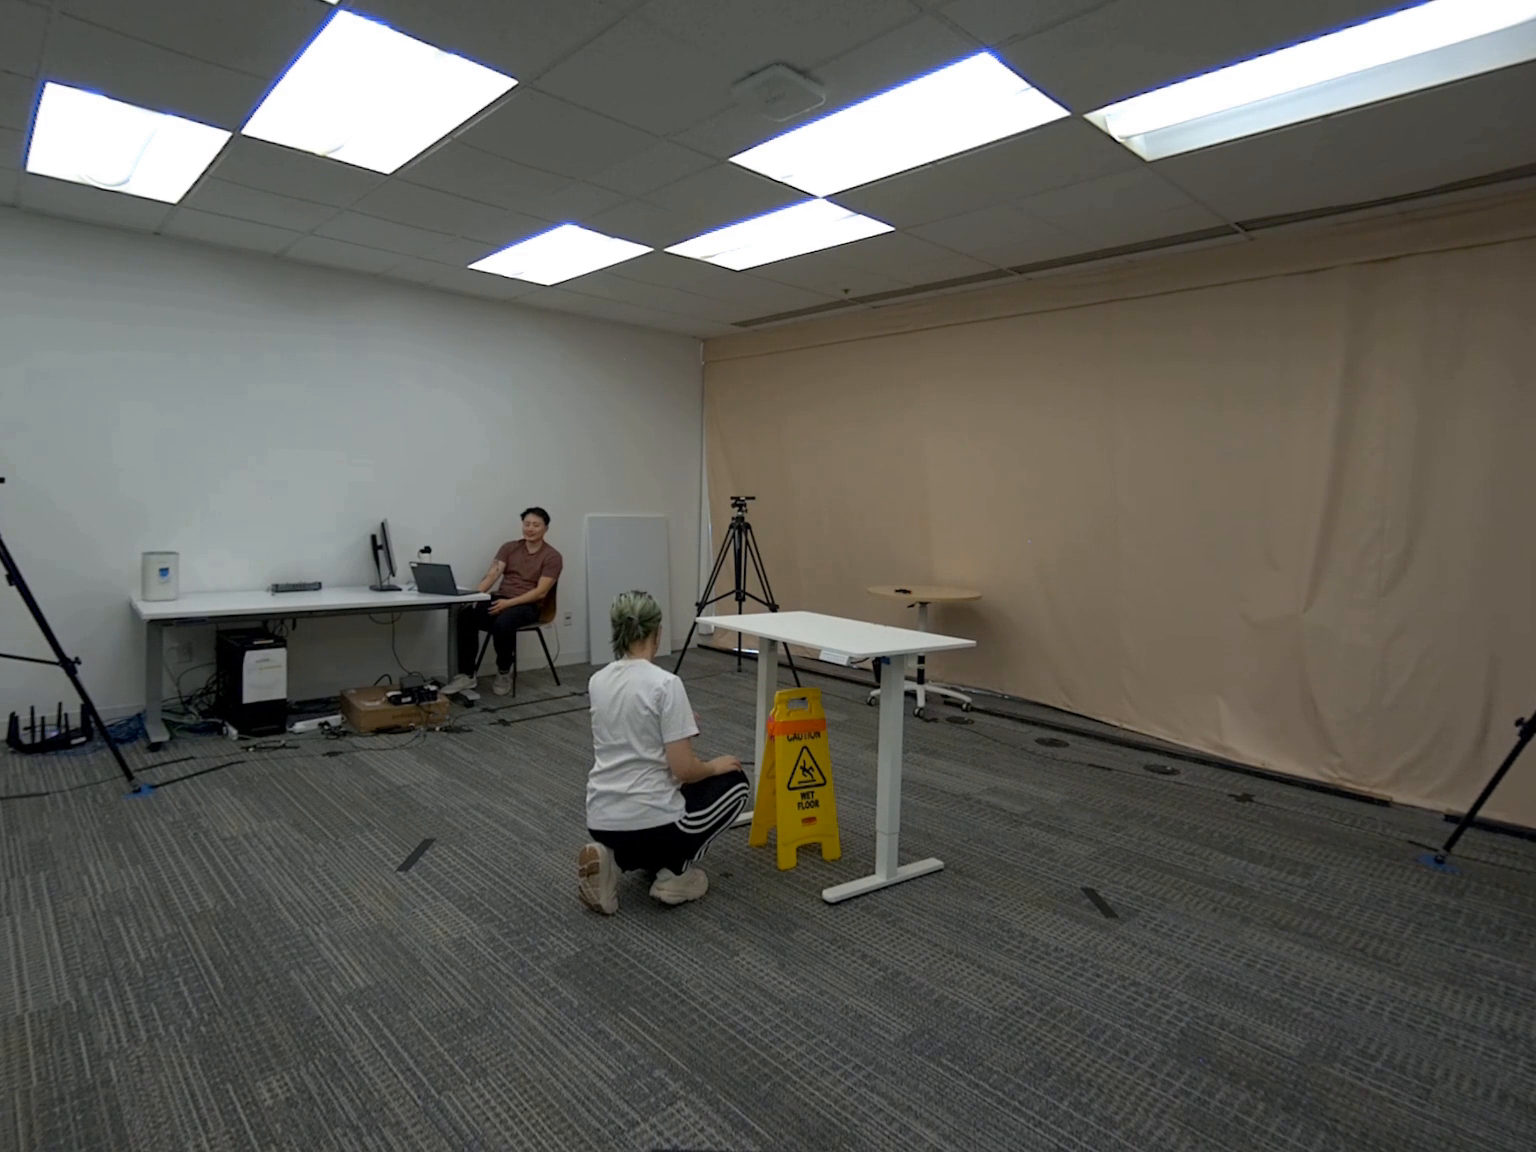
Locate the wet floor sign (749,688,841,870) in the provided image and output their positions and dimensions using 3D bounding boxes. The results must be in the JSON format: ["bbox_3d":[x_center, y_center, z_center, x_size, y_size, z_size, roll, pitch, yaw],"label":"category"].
[{"bbox_3d":[0.105,0.765,3.309,0.277,0.644,0.296,-1,4,-27],"label":"wet floor sign"}]
